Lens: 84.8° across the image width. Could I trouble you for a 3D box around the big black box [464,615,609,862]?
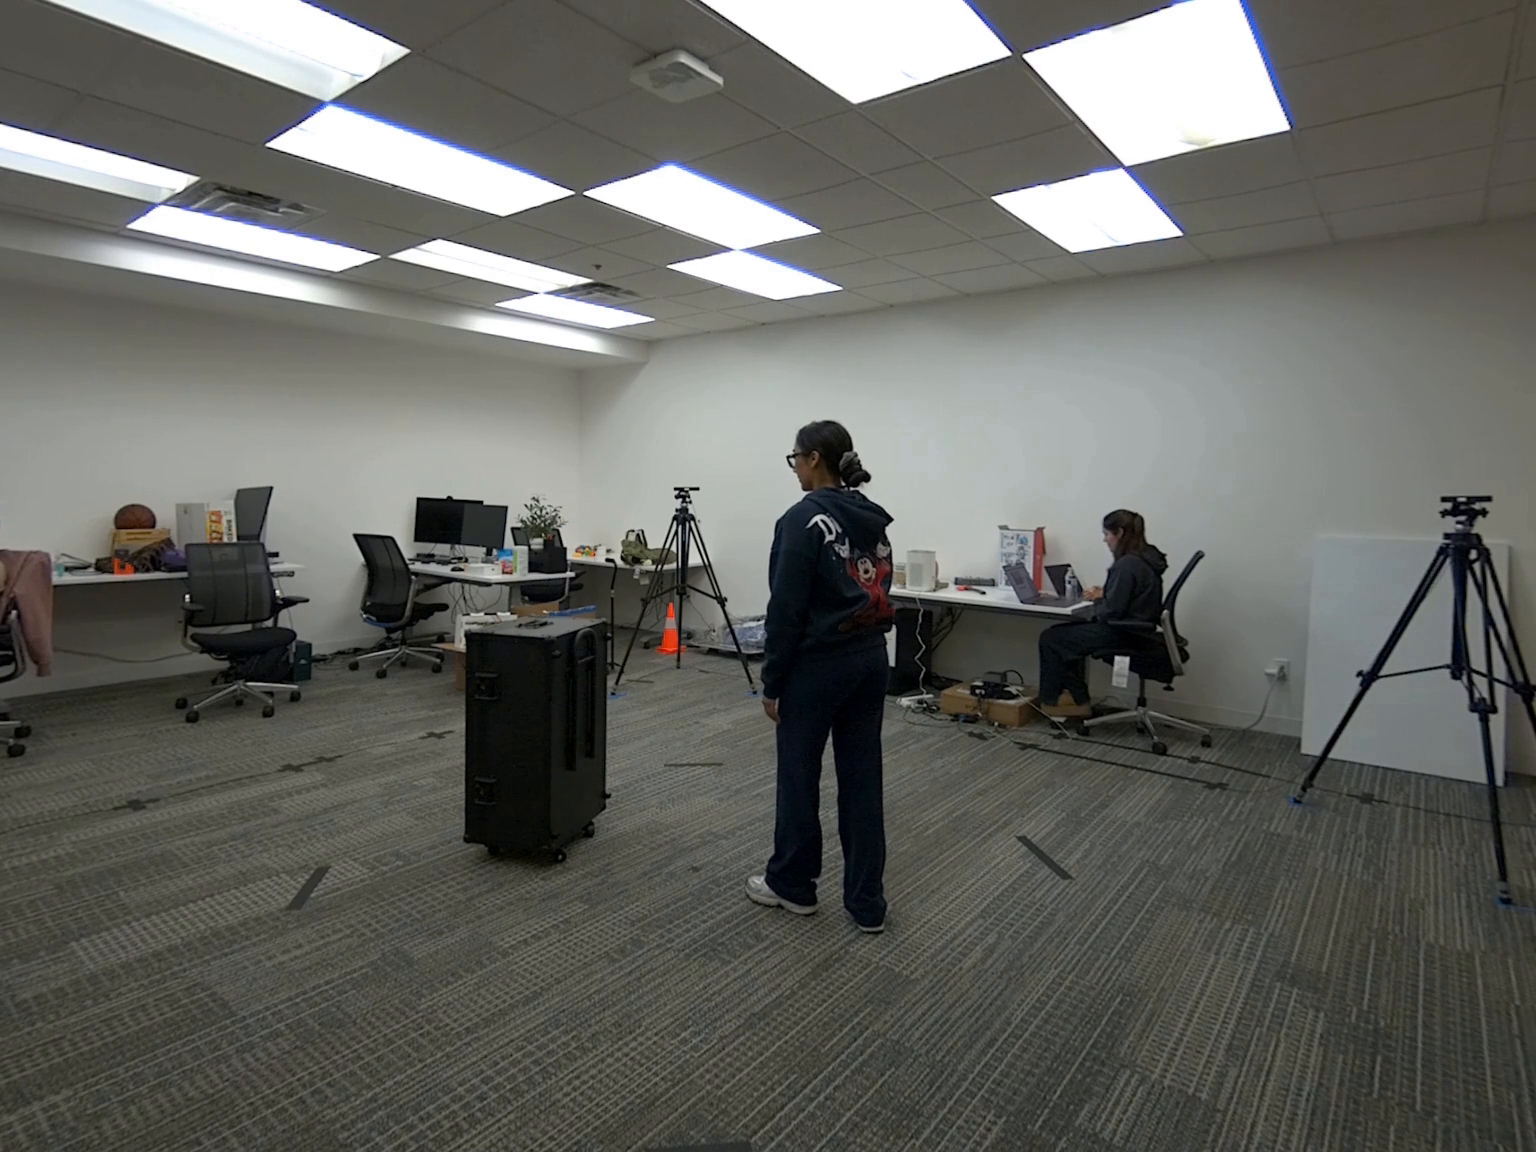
[{"bbox_3d":[-0.886,0.613,3.300,0.403,0.860,0.513,3,3,15],"label":"big black box"}]
